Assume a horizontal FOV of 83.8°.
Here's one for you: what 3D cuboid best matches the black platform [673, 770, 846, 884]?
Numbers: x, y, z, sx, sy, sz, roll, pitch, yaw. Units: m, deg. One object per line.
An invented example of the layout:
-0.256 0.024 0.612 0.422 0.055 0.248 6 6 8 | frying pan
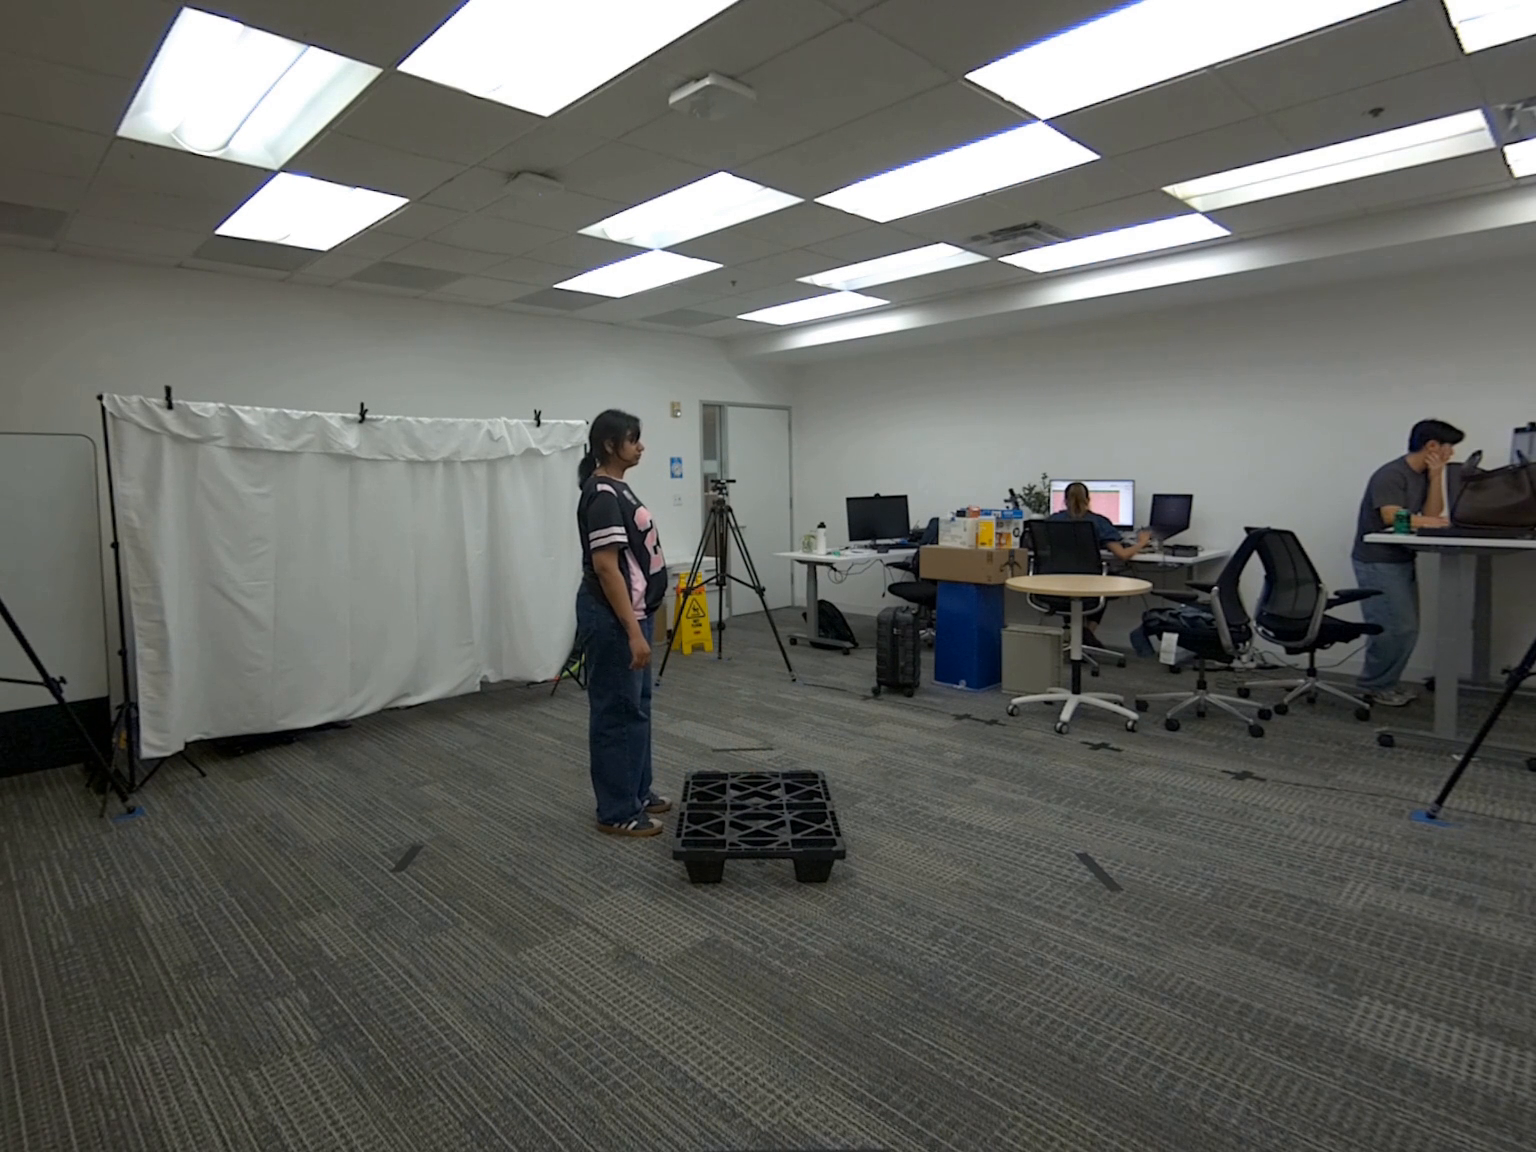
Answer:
-0.045 0.959 3.309 0.605 0.143 0.809 -2 6 -1 | black platform
